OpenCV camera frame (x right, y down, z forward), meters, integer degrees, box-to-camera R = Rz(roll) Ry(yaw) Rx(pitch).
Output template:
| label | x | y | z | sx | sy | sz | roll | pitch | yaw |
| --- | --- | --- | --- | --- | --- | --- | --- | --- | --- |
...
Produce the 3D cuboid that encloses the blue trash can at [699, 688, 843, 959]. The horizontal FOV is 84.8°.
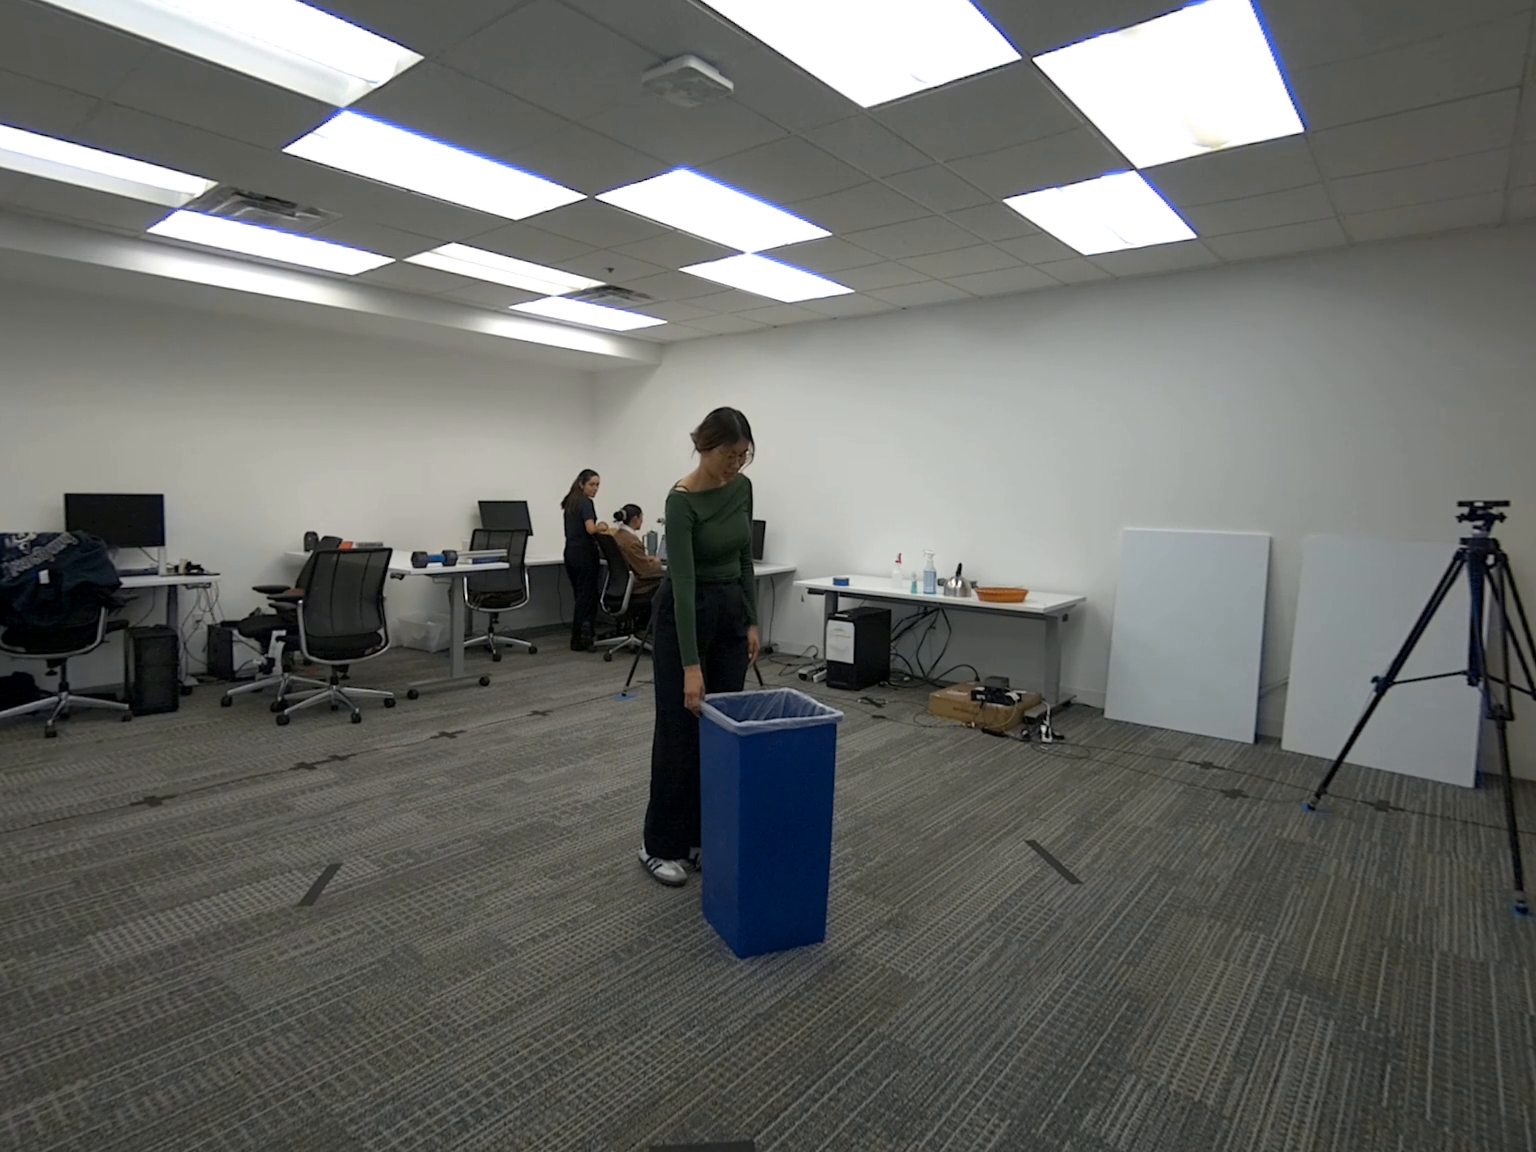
| label | x | y | z | sx | sy | sz | roll | pitch | yaw |
| --- | --- | --- | --- | --- | --- | --- | --- | --- | --- |
| blue trash can | -0.012 | 0.758 | 2.695 | 0.369 | 0.712 | 0.384 | -1 | 3 | -26 |
